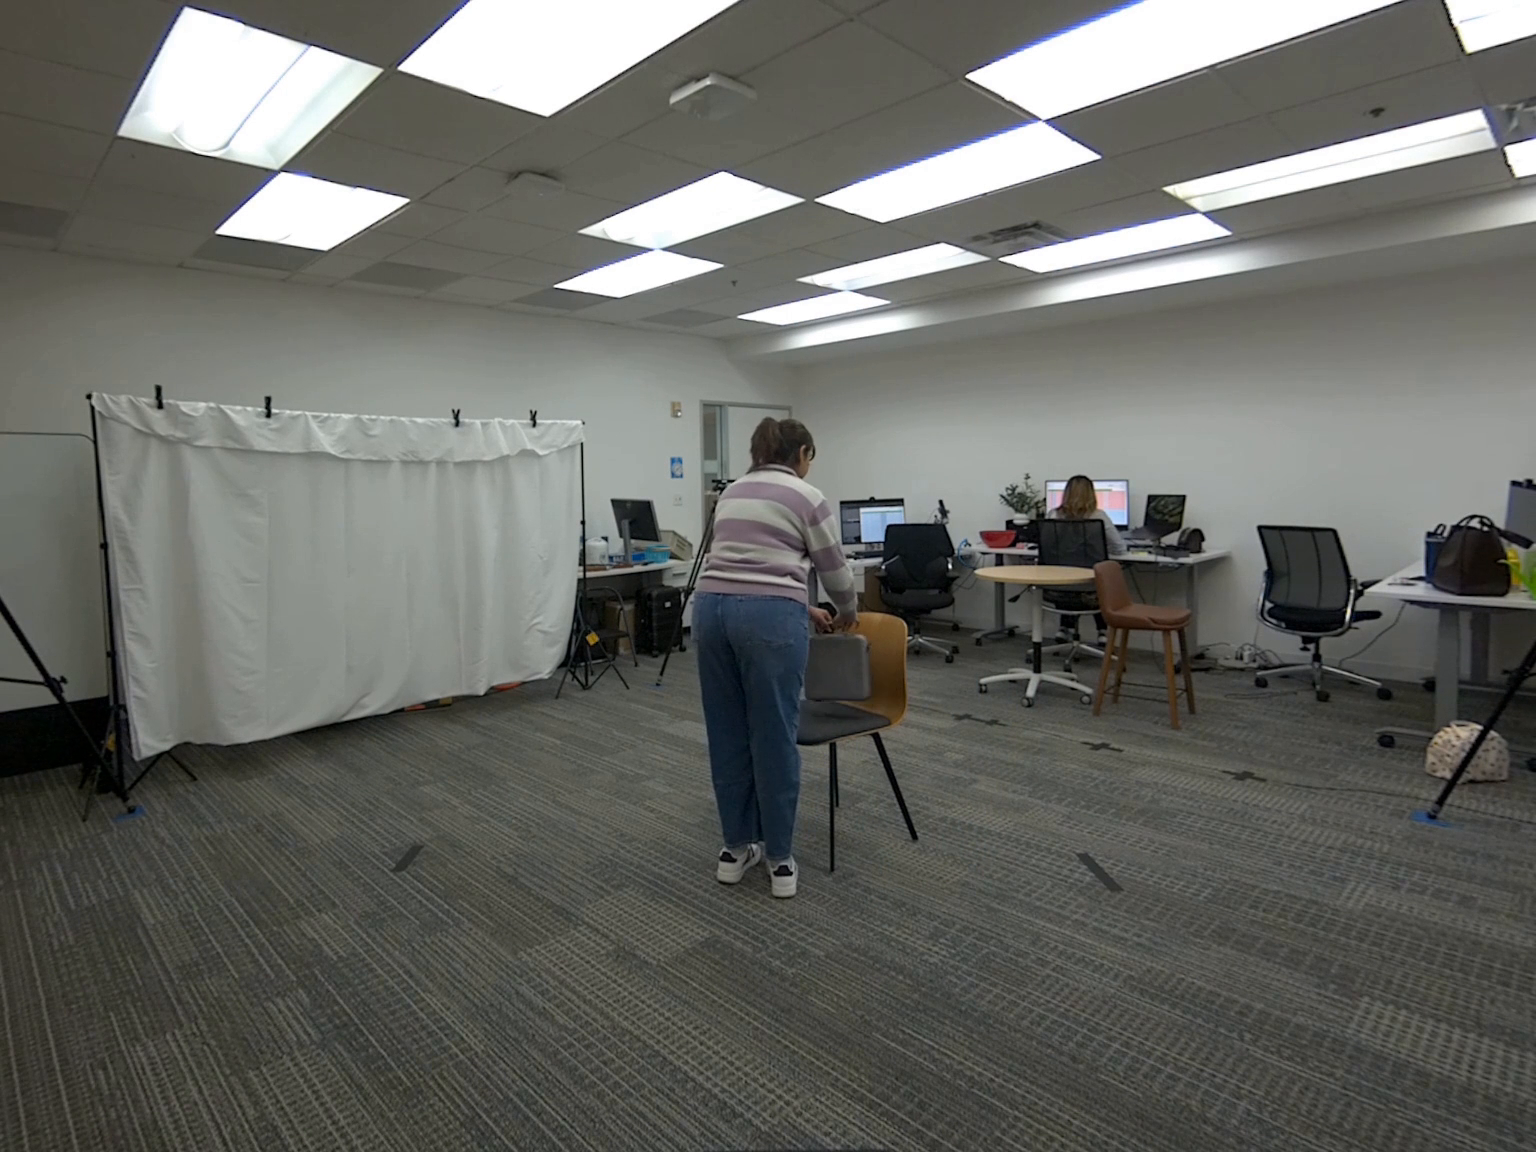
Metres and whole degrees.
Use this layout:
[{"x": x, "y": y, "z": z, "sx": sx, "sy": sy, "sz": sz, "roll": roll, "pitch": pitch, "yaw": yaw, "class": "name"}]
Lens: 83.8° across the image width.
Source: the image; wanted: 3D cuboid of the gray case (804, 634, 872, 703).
[{"x": 0.272, "y": 0.350, "z": 3.338, "sx": 0.262, "sy": 0.262, "sz": 0.102, "roll": -4, "pitch": -5, "yaw": 22, "class": "gray case"}]
